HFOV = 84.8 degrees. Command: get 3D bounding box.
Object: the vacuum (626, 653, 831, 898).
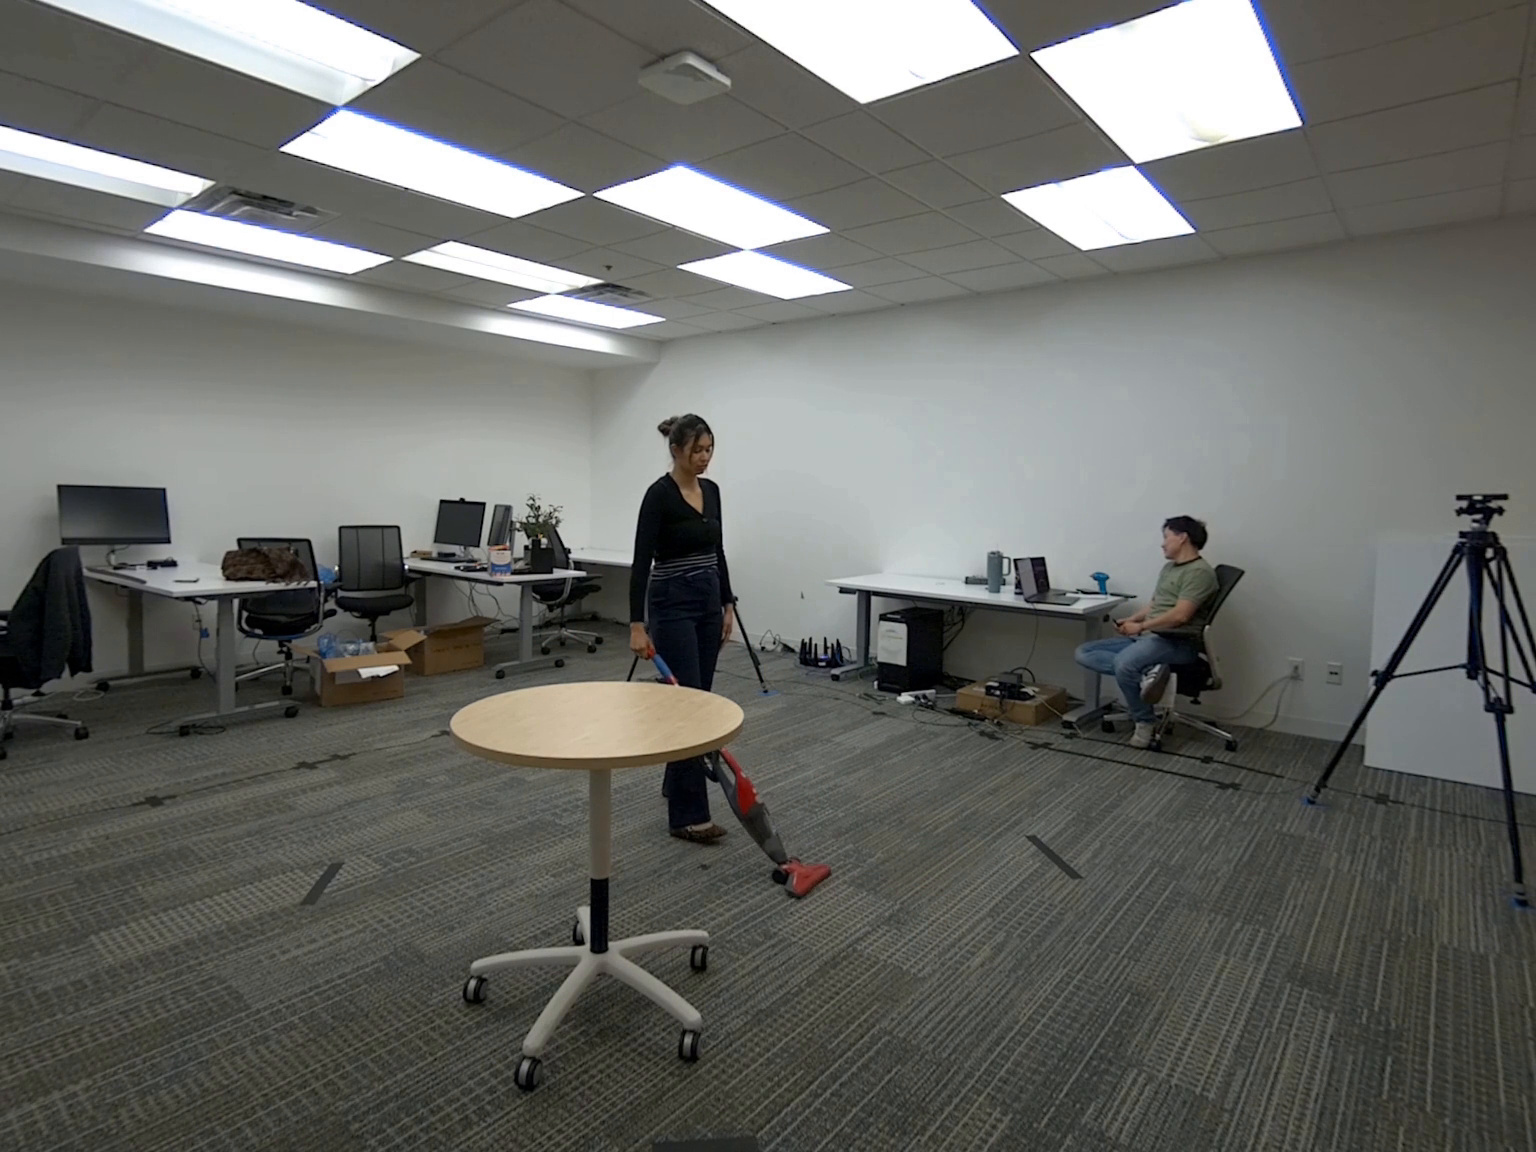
[{"bbox_3d":[-0.187,0.685,3.200,0.144,1.080,0.245,-47,-23,22],"label":"vacuum"}]
